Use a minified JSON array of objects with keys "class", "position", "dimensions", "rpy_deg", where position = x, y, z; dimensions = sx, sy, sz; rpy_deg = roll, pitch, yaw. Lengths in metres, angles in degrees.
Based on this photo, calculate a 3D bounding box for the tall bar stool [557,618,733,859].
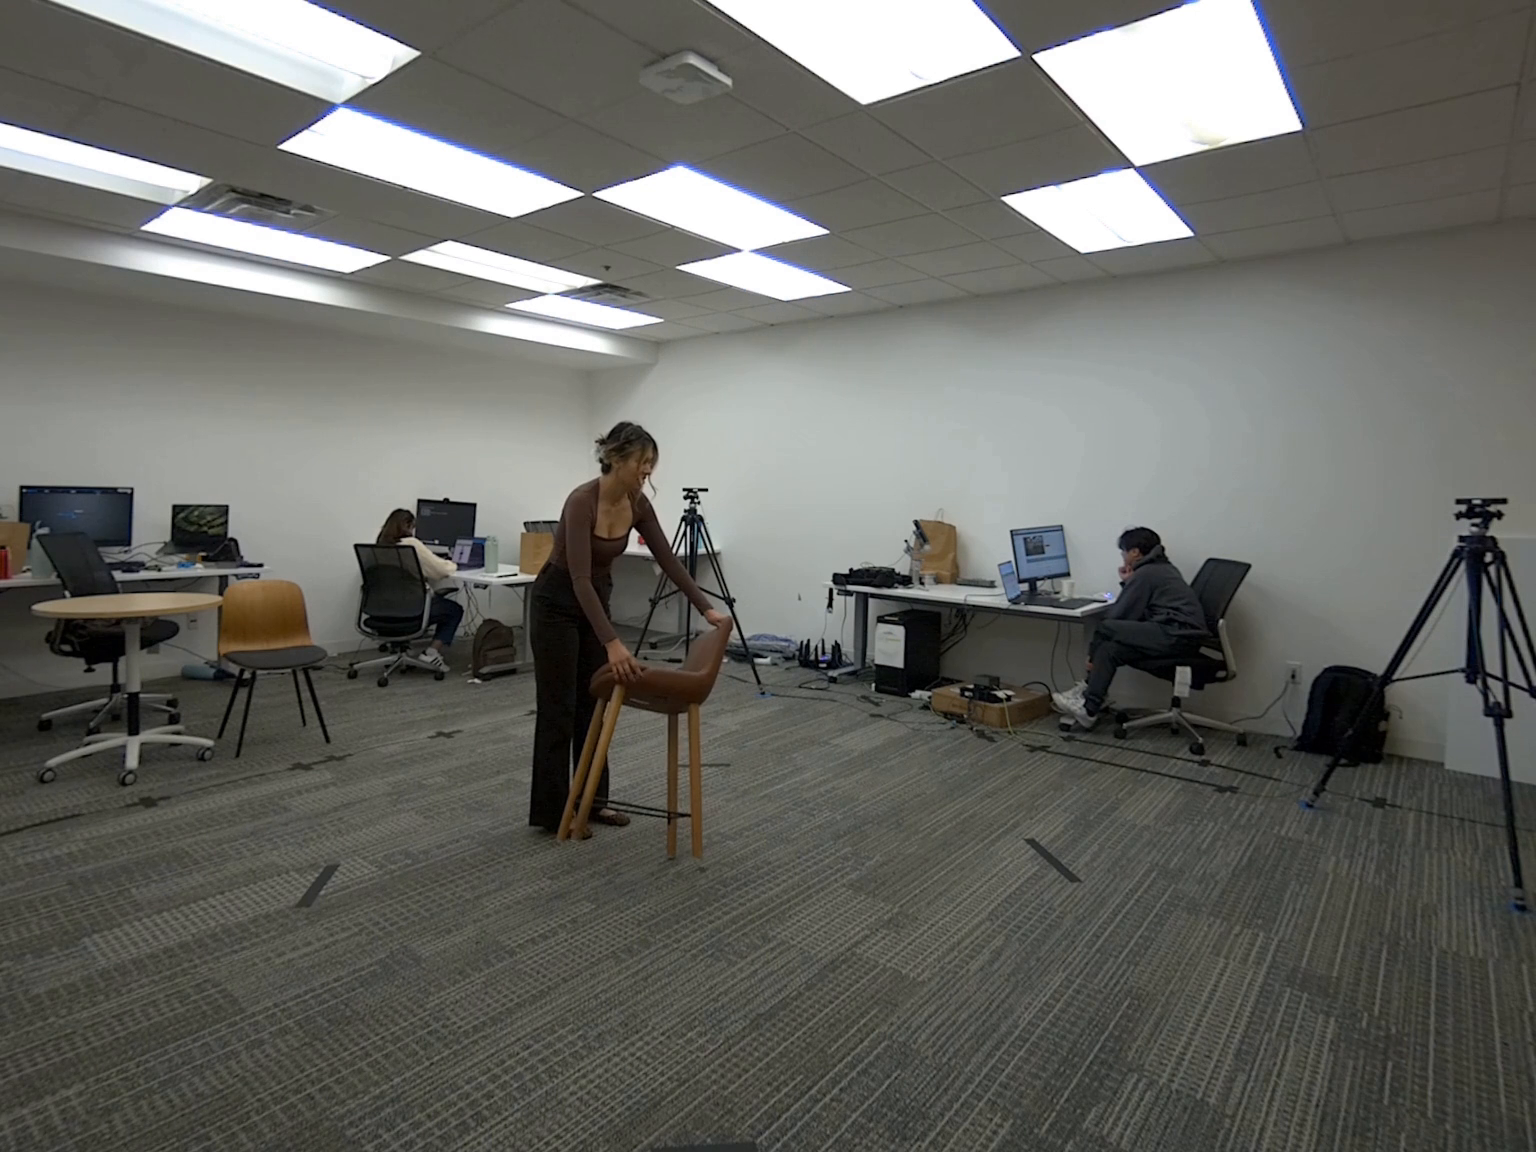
[{"class":"tall bar stool","position":[-0.457,0.556,3.153],"dimensions":[0.459,0.904,0.457],"rpy_deg":[15,-22,-15]}]
